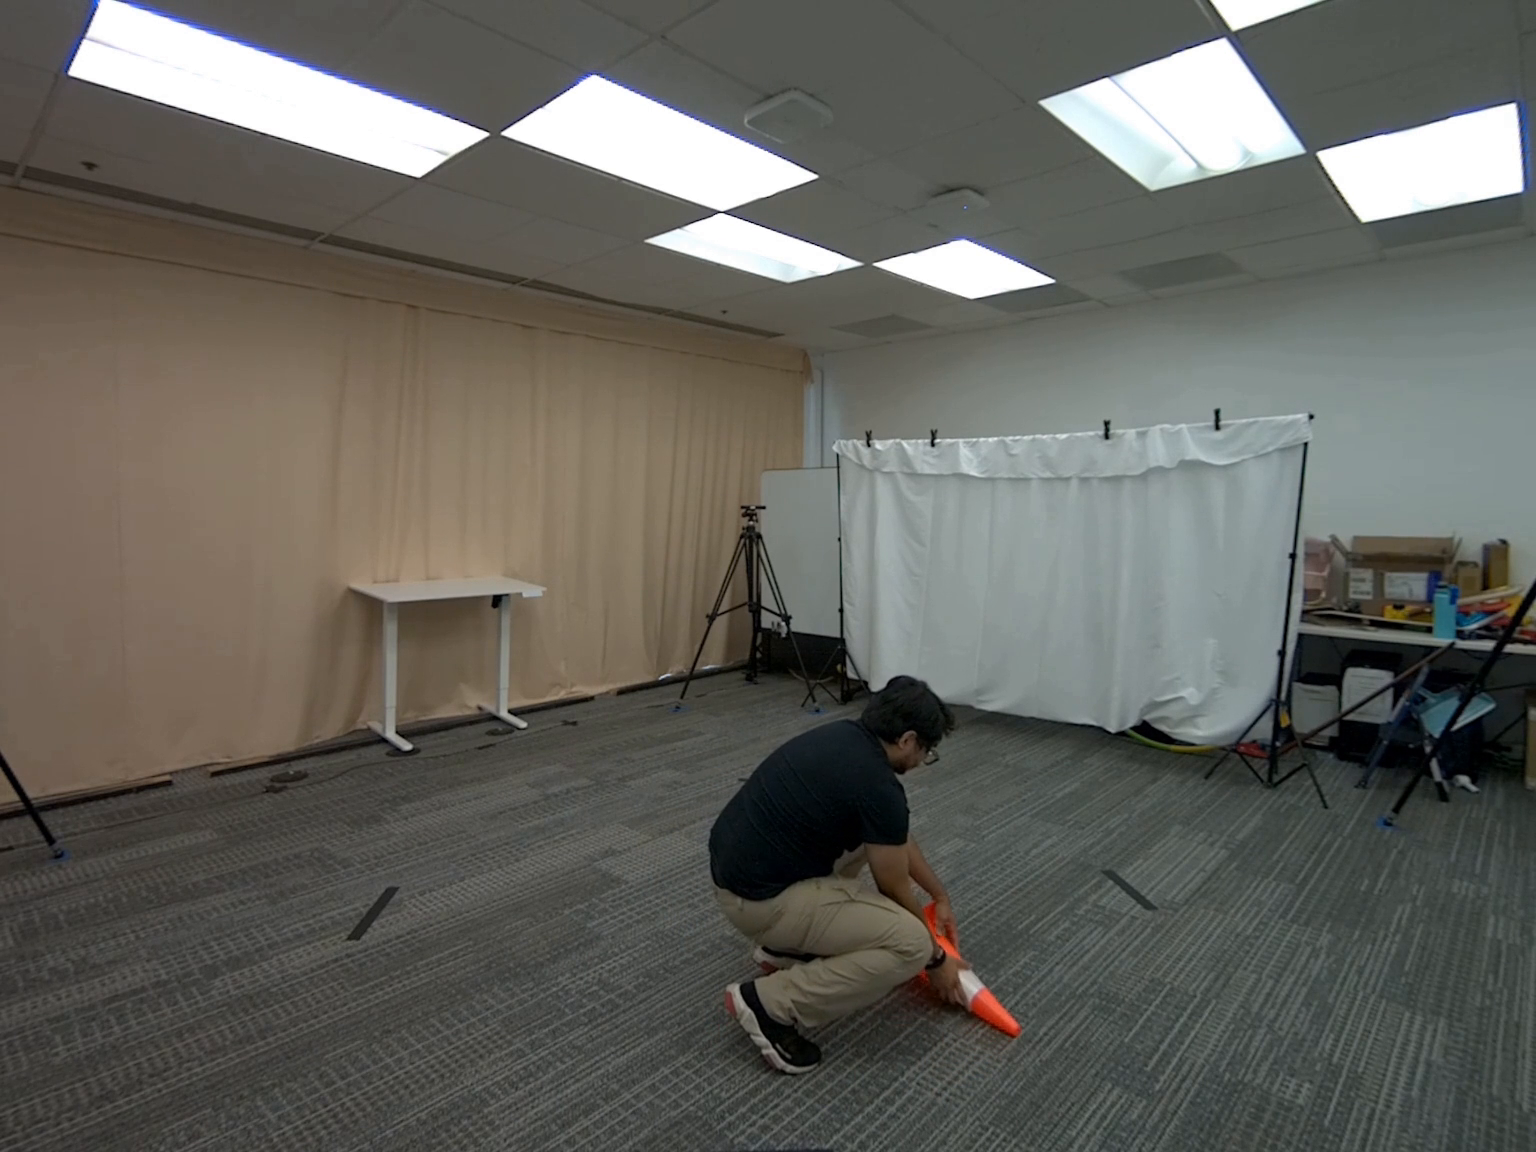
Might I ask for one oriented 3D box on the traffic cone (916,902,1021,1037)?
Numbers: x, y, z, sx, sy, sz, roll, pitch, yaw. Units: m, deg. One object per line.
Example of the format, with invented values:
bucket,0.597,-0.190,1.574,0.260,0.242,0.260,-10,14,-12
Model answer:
traffic cone,0.555,1.145,2.348,0.201,0.200,0.398,-19,29,-30
